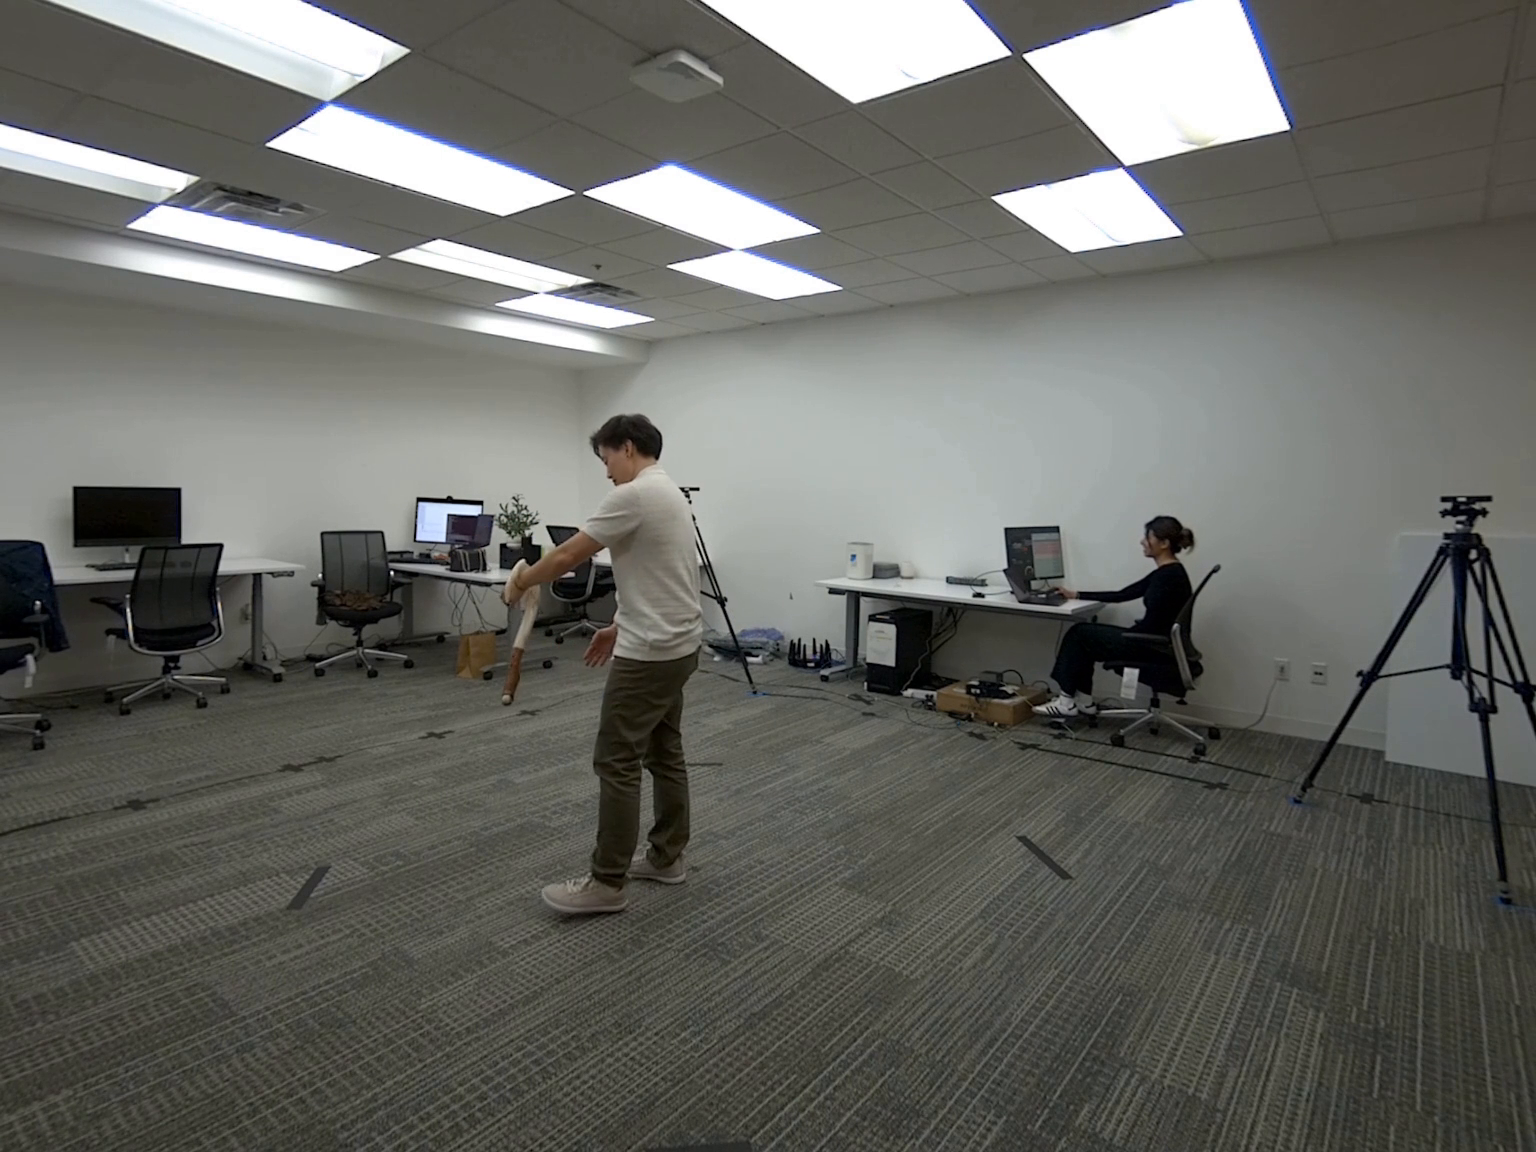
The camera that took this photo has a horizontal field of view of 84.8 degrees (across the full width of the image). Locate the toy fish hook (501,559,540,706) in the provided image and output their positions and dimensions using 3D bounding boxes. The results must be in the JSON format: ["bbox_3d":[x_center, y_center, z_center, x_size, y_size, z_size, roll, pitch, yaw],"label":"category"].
[{"bbox_3d":[-0.873,0.181,2.901,0.049,0.519,0.216,-6,-30,13],"label":"toy fish hook"}]
